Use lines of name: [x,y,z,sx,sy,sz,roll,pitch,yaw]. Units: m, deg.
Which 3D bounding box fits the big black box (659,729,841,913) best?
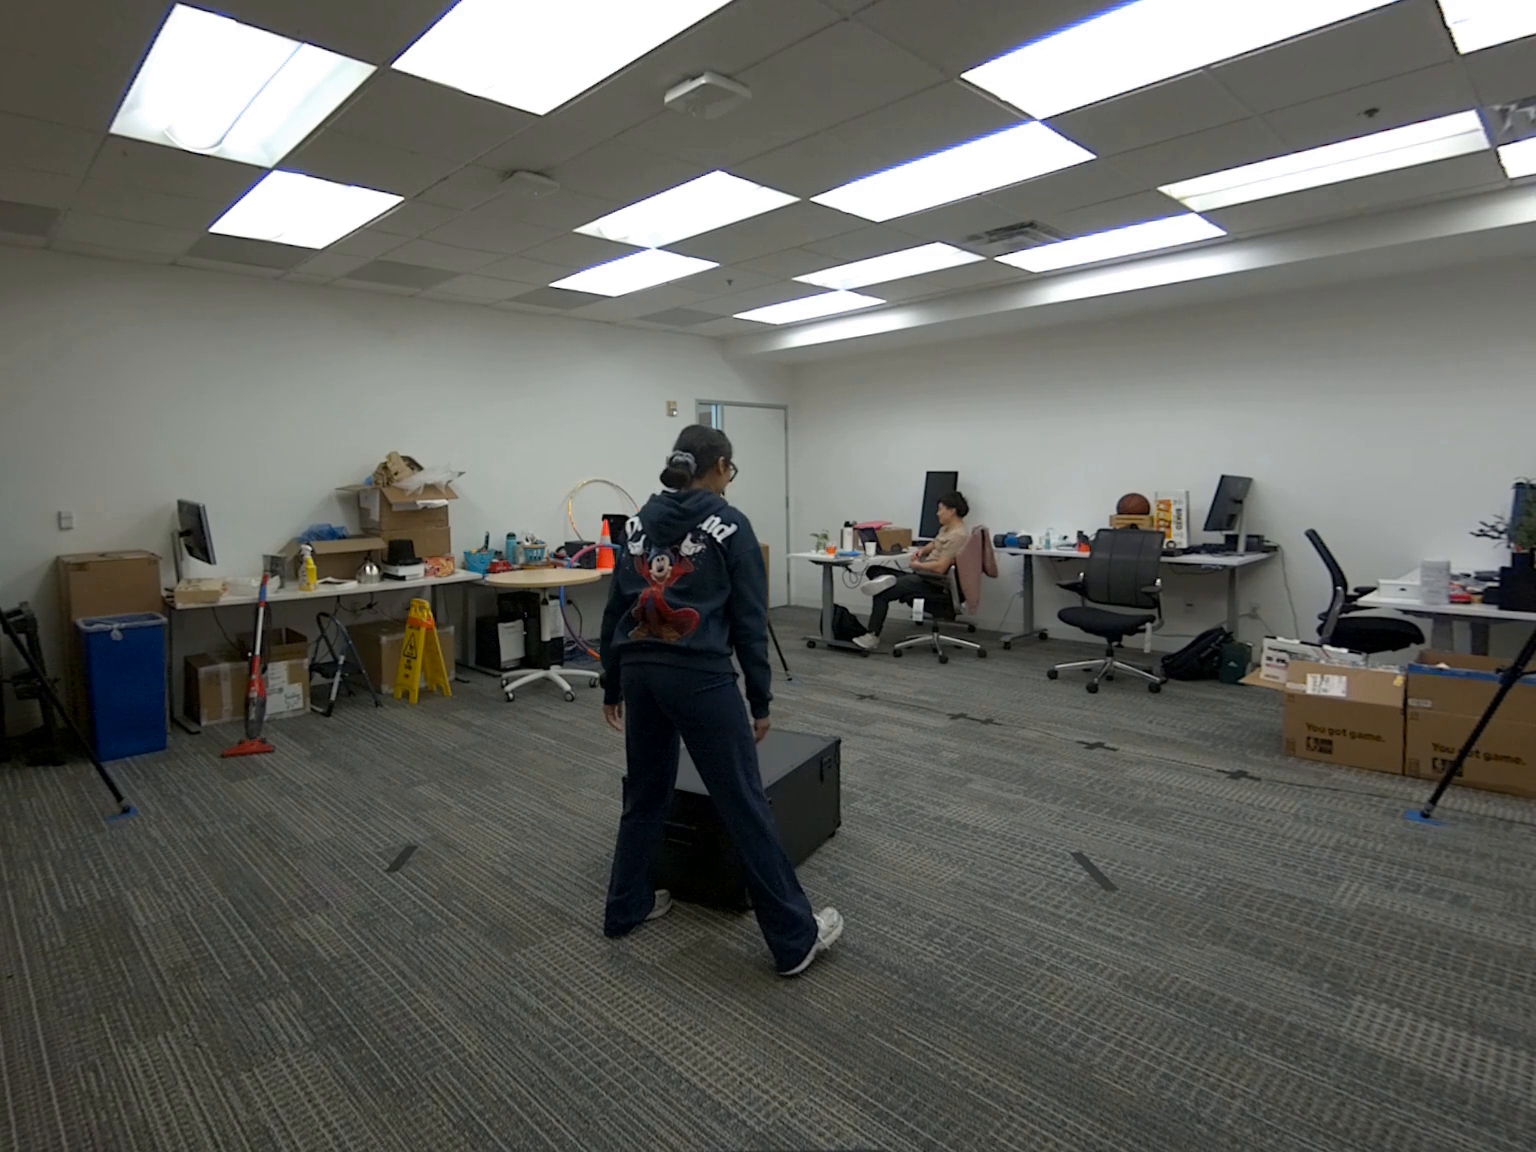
big black box: [-0.082,0.846,3.183,0.534,0.394,0.844,2,7,28]
